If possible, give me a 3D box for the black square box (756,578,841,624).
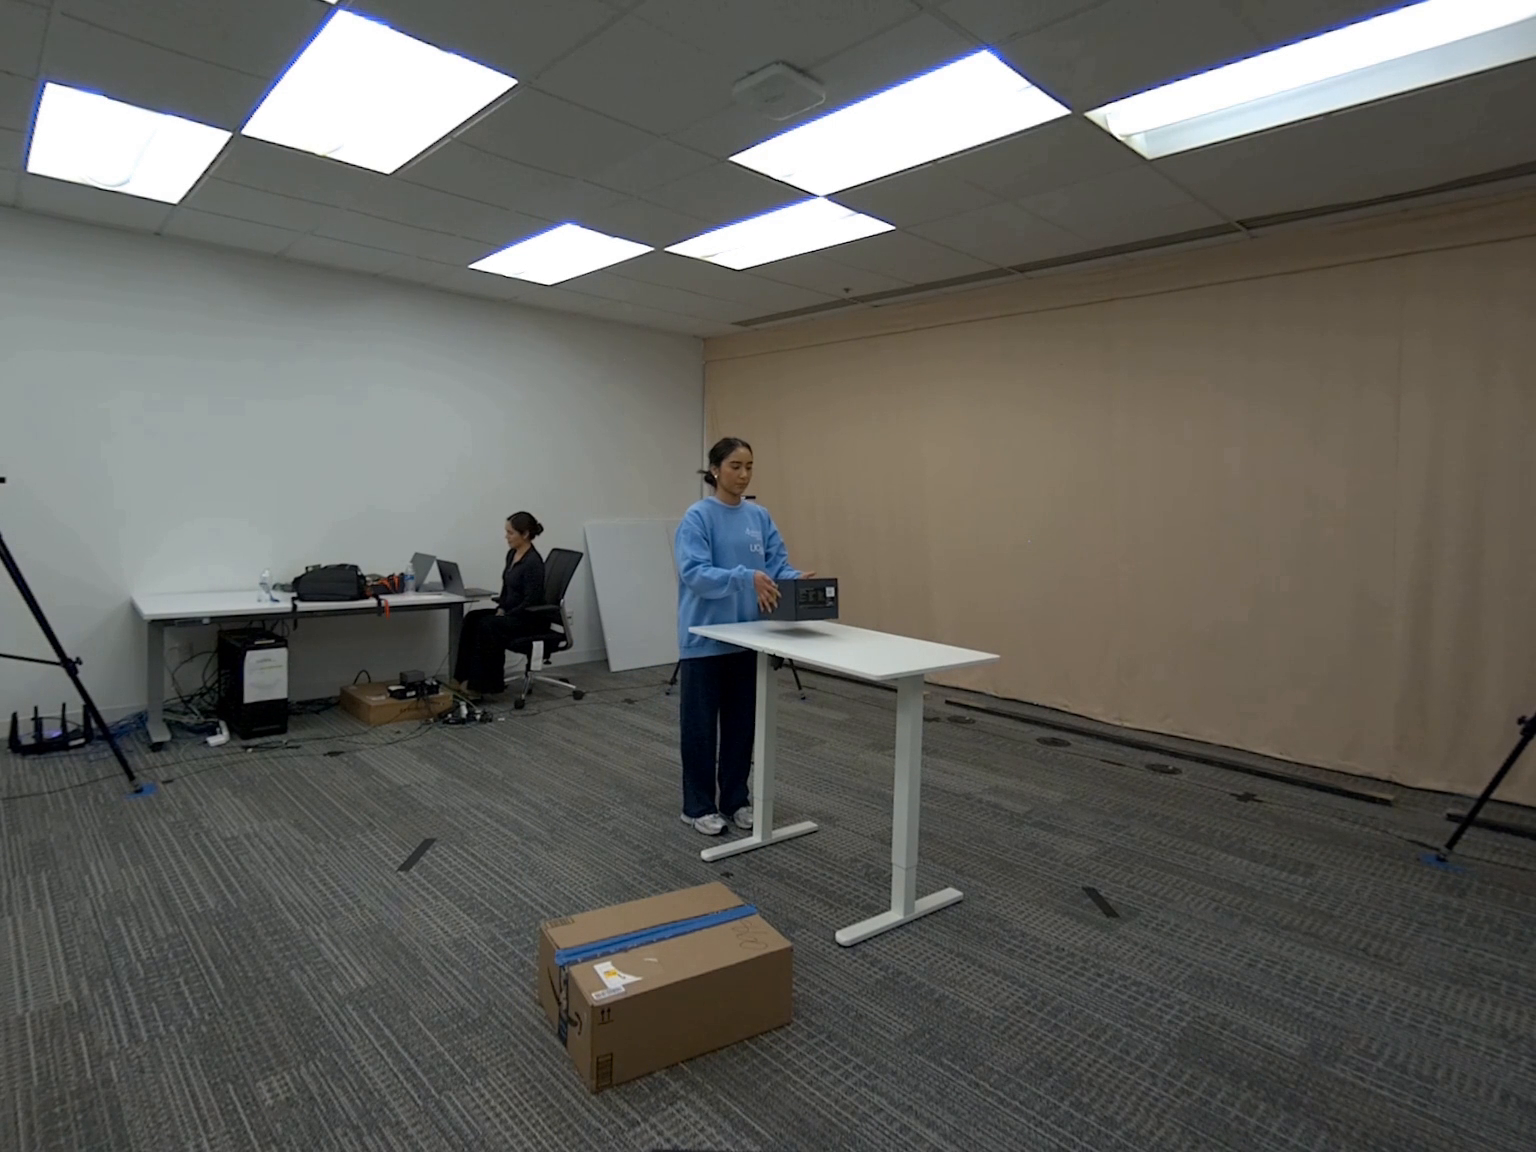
[{"bbox_3d":[0.110,0.092,3.181,0.212,0.156,0.233,-1,-1,-40],"label":"black square box"}]
